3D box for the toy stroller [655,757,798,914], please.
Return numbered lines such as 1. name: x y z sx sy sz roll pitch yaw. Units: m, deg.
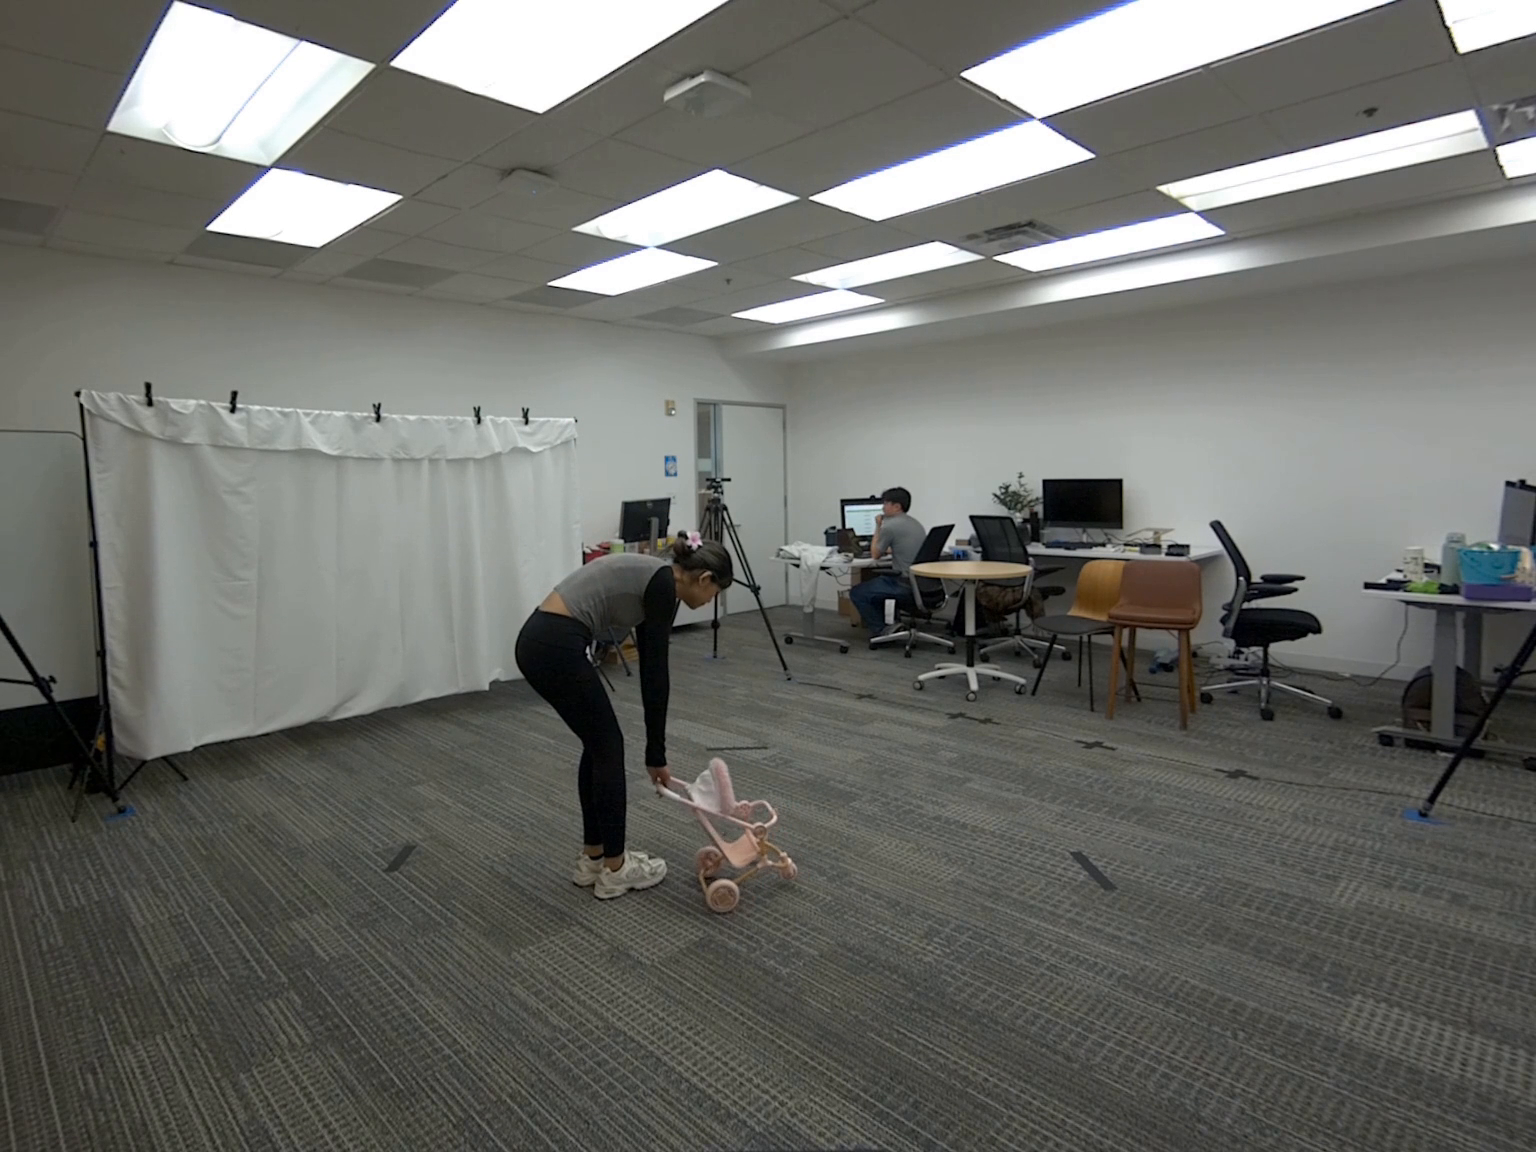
1. toy stroller: -0.124 0.839 2.865 0.340 0.530 0.285 -21 9 -8
